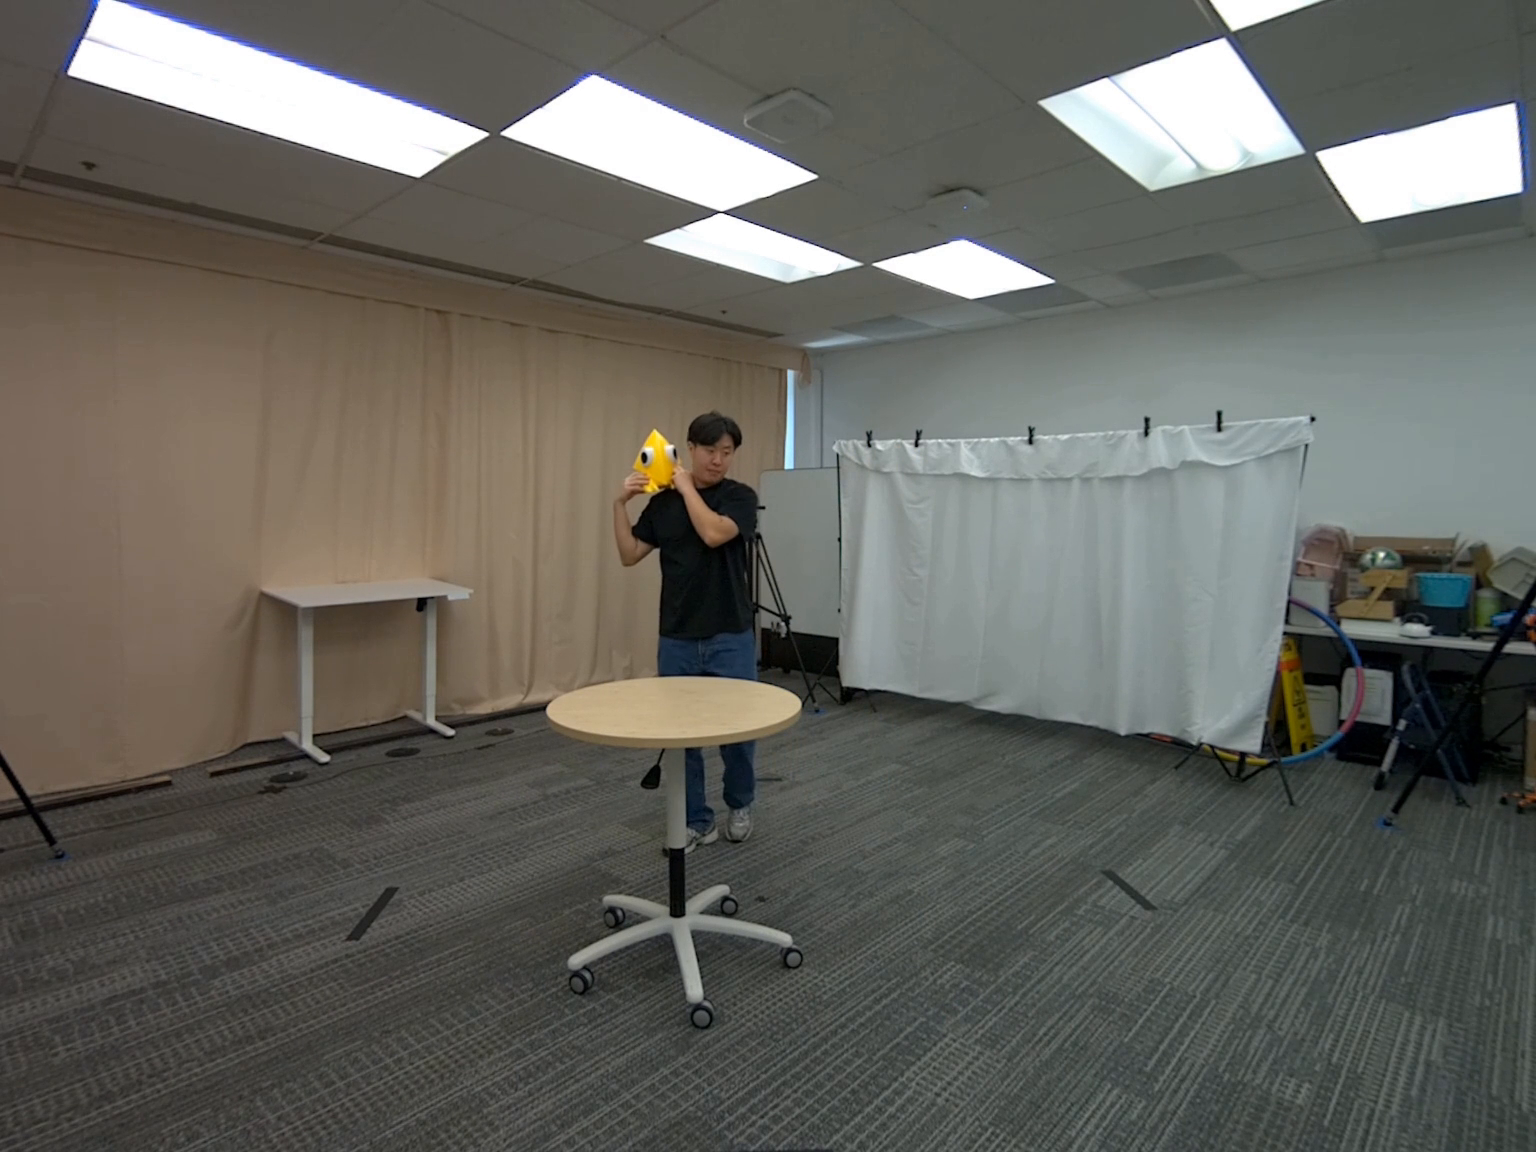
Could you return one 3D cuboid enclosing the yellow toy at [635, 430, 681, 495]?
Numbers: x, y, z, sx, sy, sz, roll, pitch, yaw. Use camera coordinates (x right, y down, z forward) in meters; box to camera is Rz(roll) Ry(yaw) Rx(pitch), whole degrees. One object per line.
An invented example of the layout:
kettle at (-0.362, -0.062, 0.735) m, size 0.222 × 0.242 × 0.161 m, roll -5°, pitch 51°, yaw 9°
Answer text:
yellow toy at (-0.430, -0.477, 3.429) m, size 0.202 × 0.228 × 0.197 m, roll -9°, pitch 15°, yaw -13°
